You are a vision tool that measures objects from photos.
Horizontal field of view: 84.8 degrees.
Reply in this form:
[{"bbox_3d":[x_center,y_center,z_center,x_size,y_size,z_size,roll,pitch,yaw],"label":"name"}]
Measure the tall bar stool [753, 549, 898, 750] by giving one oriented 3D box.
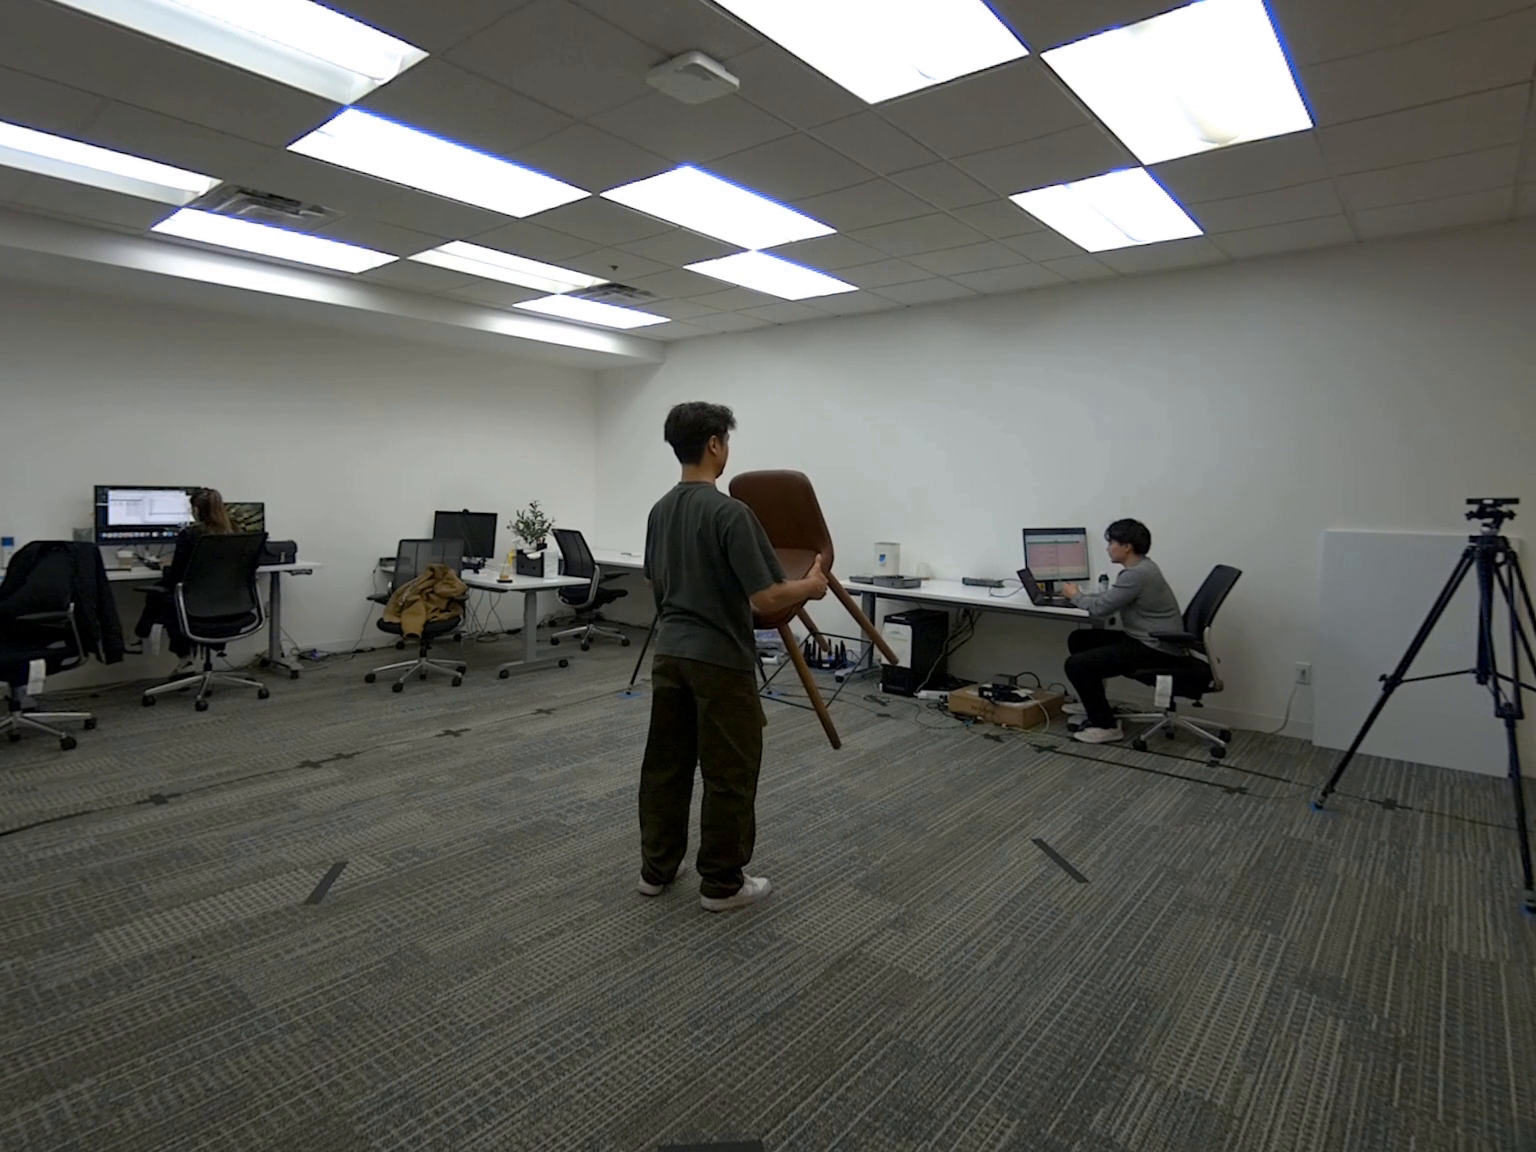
[{"bbox_3d":[0.042,0.114,3.064,0.472,0.863,0.466,5,39,48],"label":"tall bar stool"}]
